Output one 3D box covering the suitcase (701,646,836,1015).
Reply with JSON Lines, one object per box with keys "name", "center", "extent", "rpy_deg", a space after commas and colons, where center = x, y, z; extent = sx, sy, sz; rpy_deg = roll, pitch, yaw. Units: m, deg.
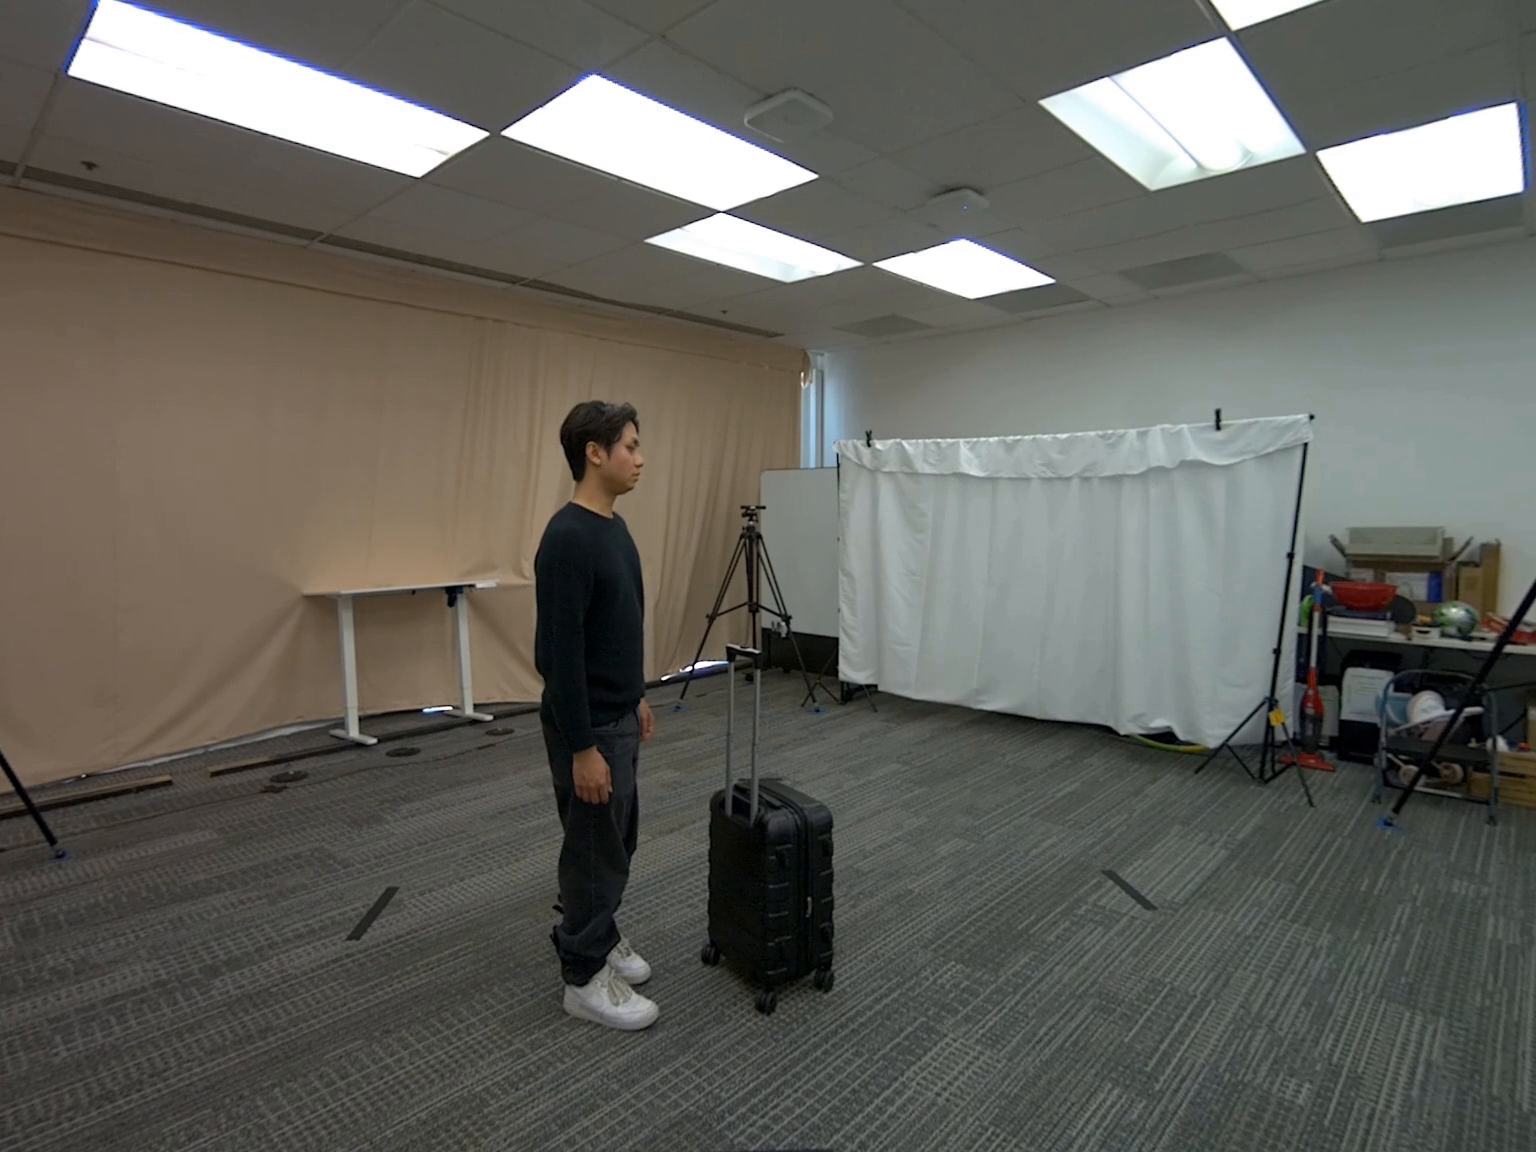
{"name": "suitcase", "center": [0.013, 0.711, 2.498], "extent": [0.249, 0.978, 0.396], "rpy_deg": [1, 1, -34]}
